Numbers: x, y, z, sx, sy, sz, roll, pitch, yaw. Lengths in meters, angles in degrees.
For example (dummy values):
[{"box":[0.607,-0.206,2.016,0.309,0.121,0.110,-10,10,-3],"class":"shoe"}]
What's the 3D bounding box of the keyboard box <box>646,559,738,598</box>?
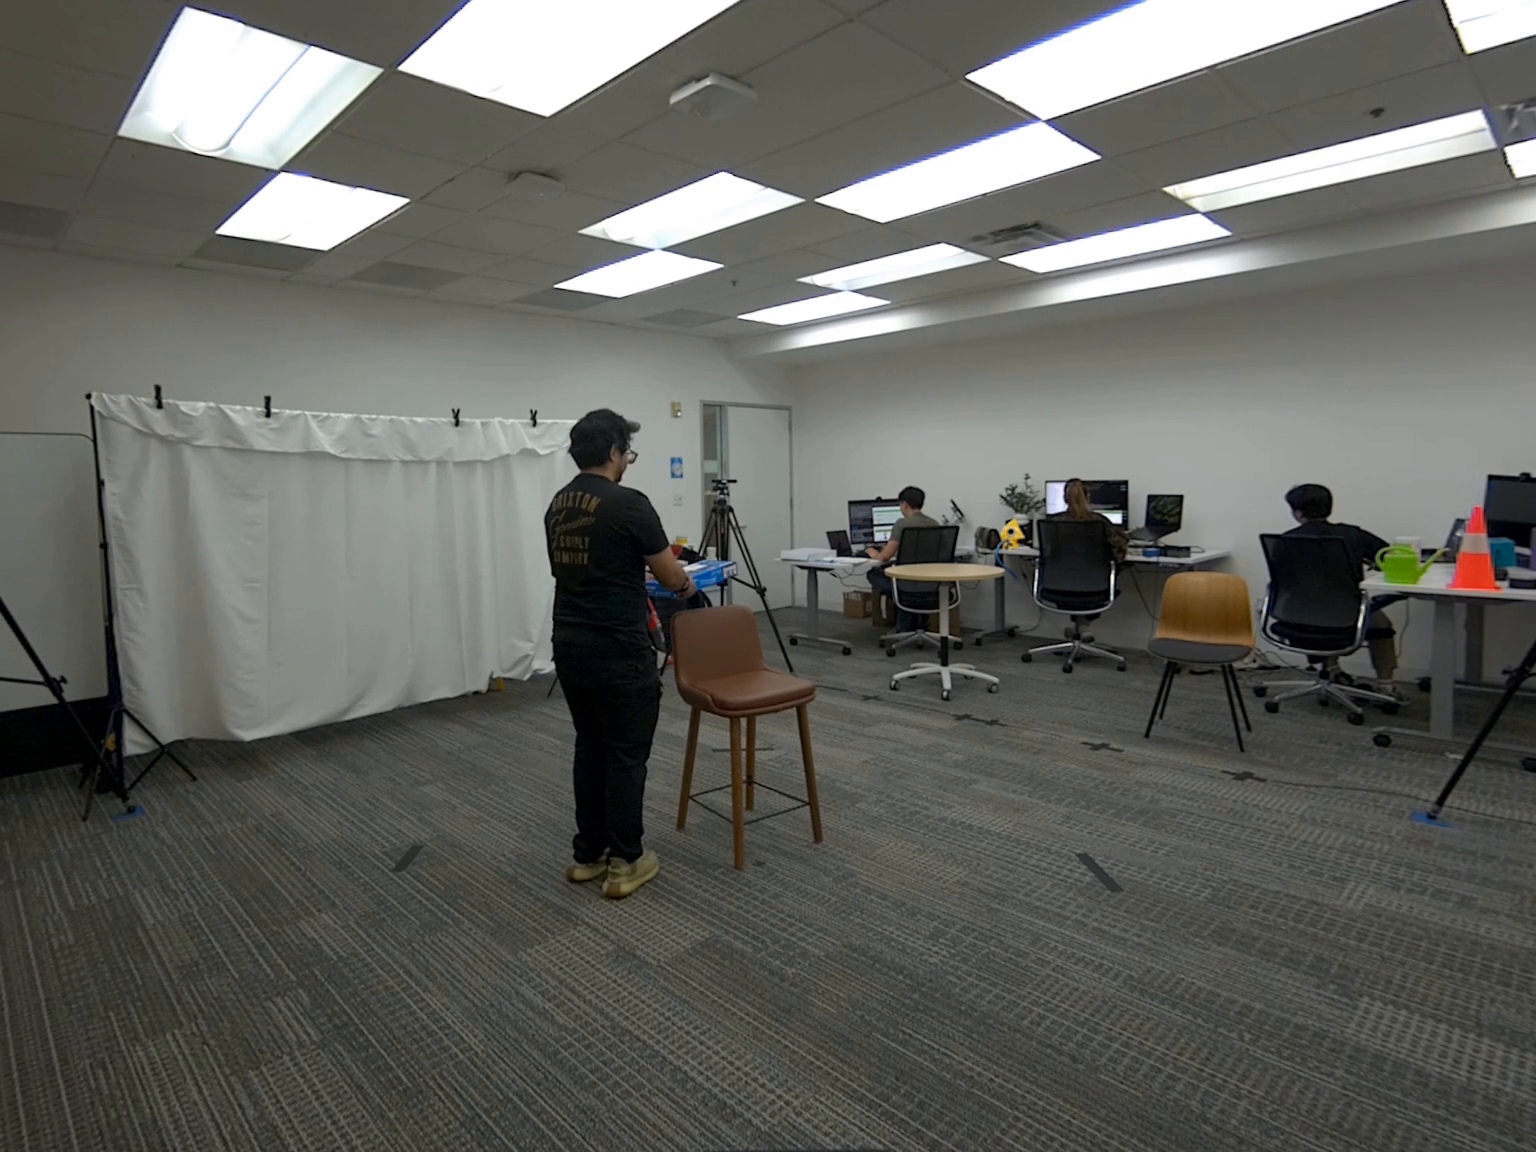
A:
[{"box":[-0.318,0.014,3.466,0.181,0.058,0.429,2,14,32],"class":"keyboard box"}]
